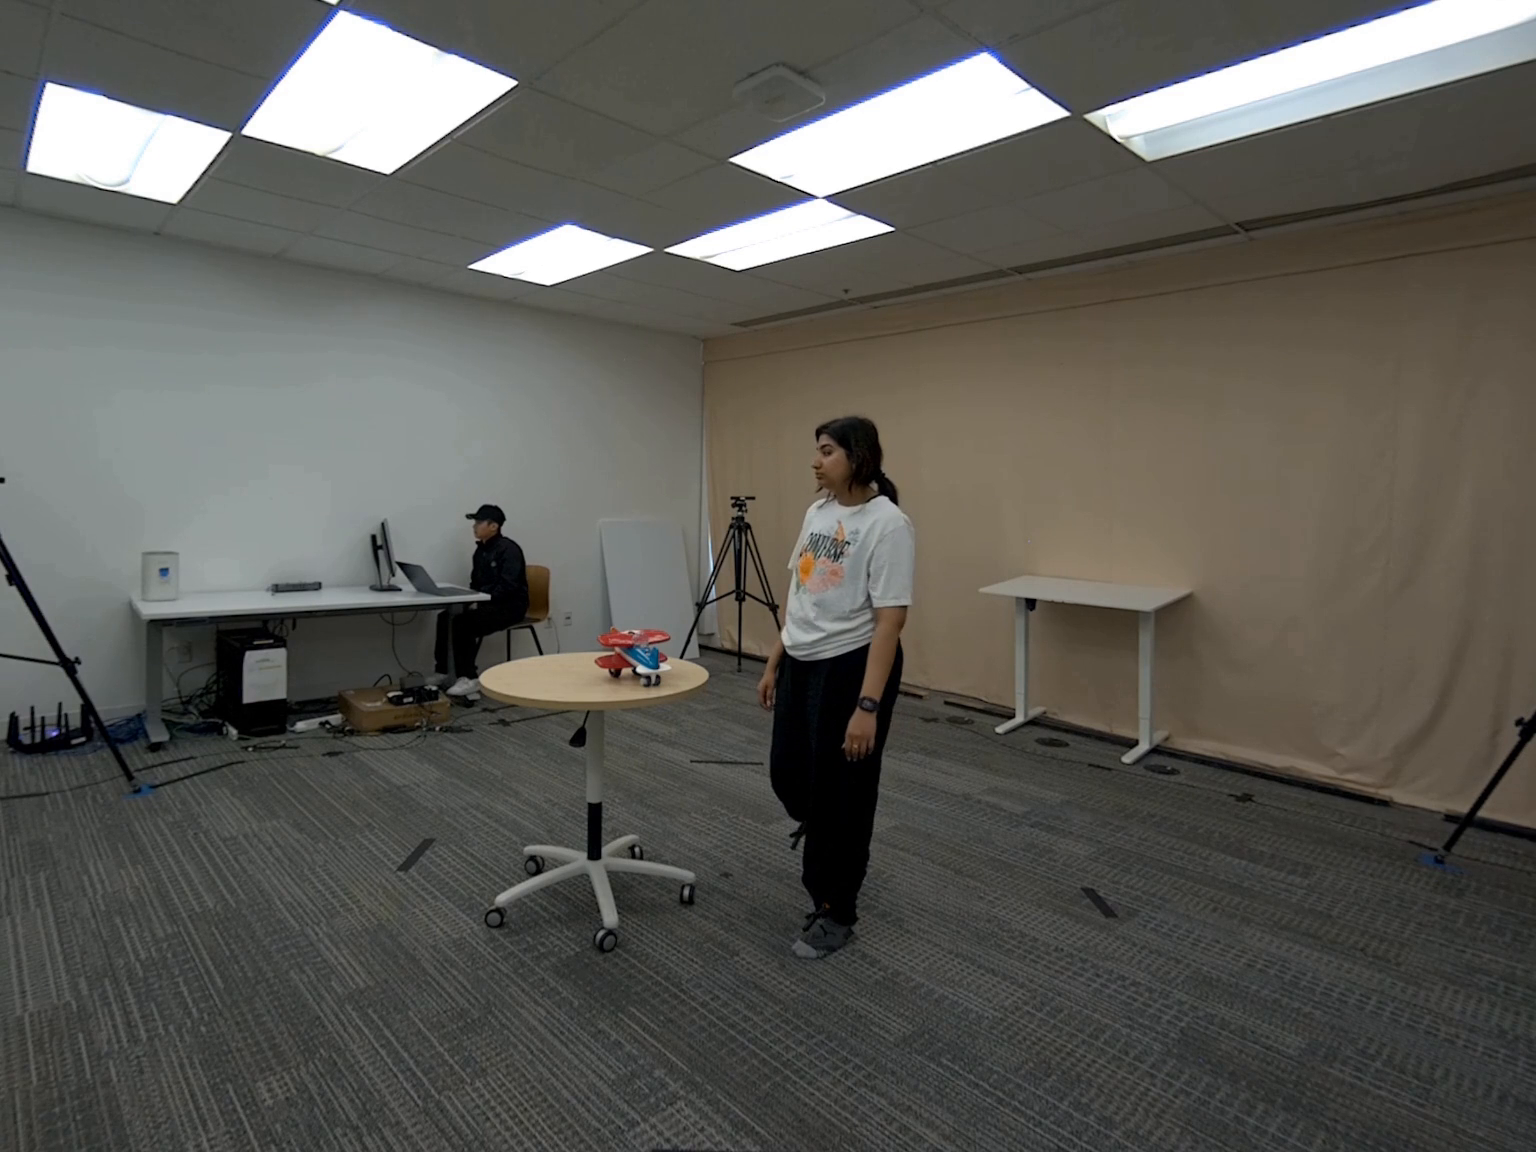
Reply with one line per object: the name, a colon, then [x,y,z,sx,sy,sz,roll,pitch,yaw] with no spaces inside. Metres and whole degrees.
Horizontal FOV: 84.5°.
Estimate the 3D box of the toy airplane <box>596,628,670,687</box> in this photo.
toy airplane: [-0.416,0.265,2.785,0.264,0.156,0.246,3,4,27]
